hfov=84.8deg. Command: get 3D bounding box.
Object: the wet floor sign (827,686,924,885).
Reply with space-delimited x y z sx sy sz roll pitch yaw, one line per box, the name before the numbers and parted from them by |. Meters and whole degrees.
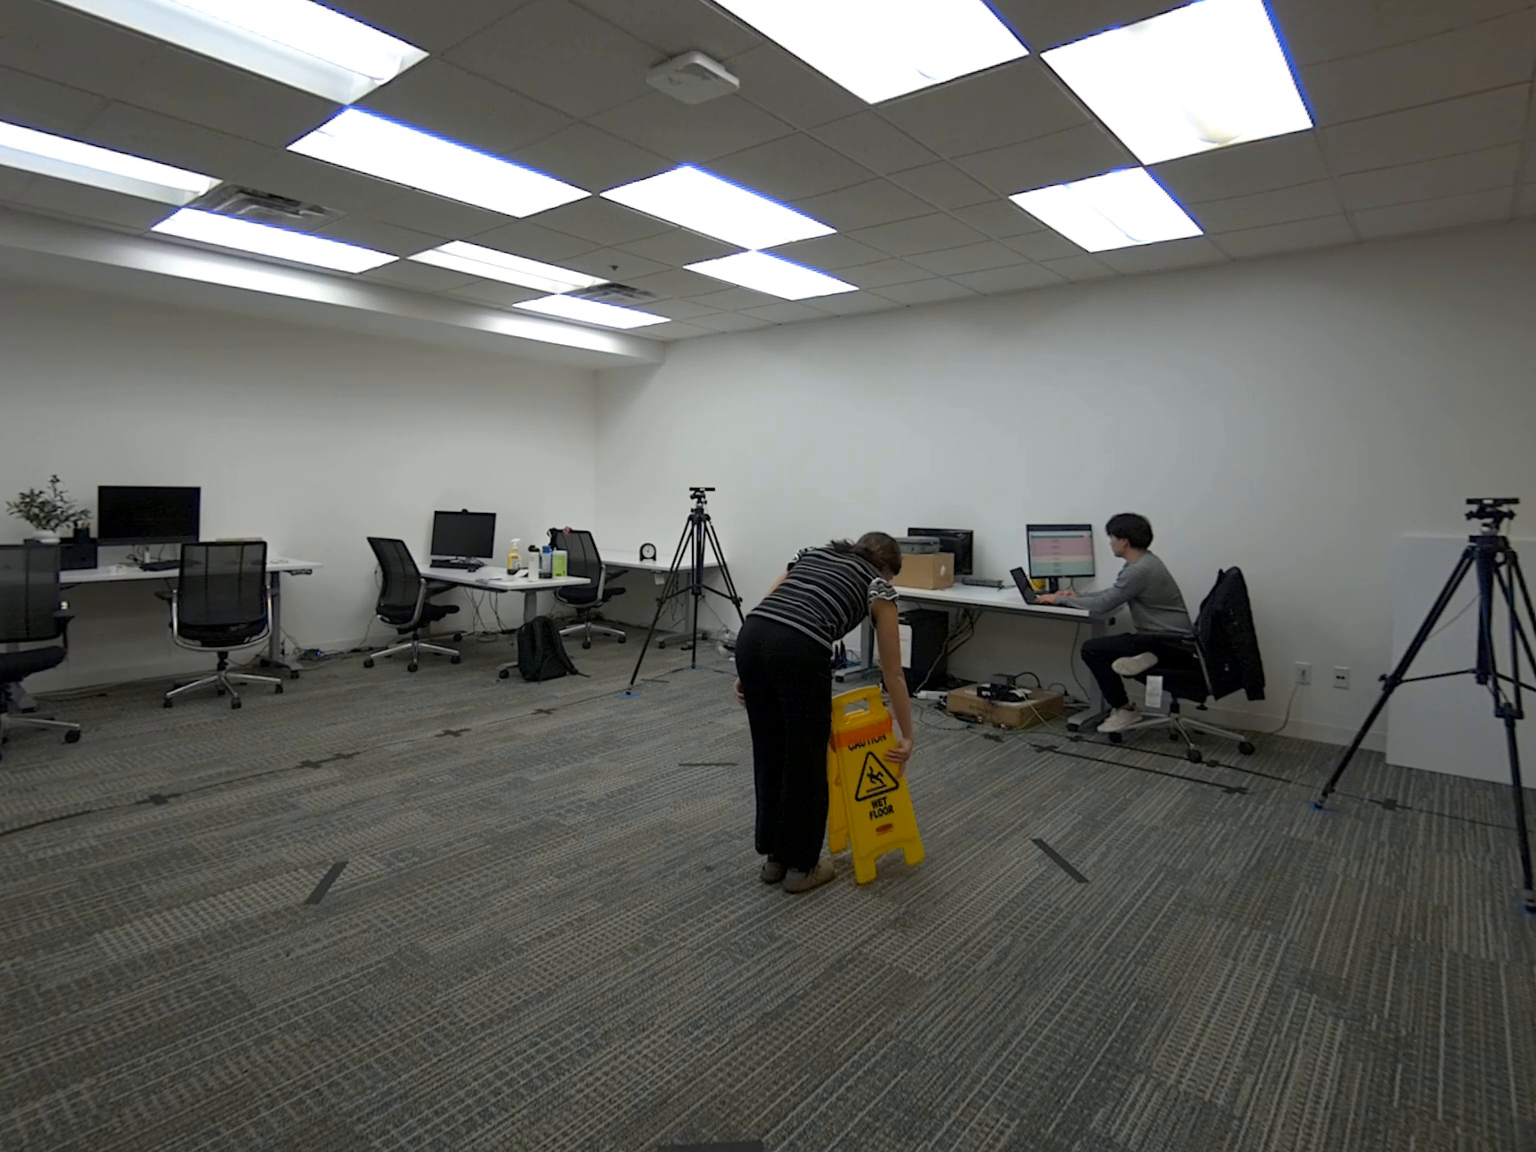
wet floor sign | 0.353 0.724 3.104 0.278 0.638 0.298 -11 12 -19
